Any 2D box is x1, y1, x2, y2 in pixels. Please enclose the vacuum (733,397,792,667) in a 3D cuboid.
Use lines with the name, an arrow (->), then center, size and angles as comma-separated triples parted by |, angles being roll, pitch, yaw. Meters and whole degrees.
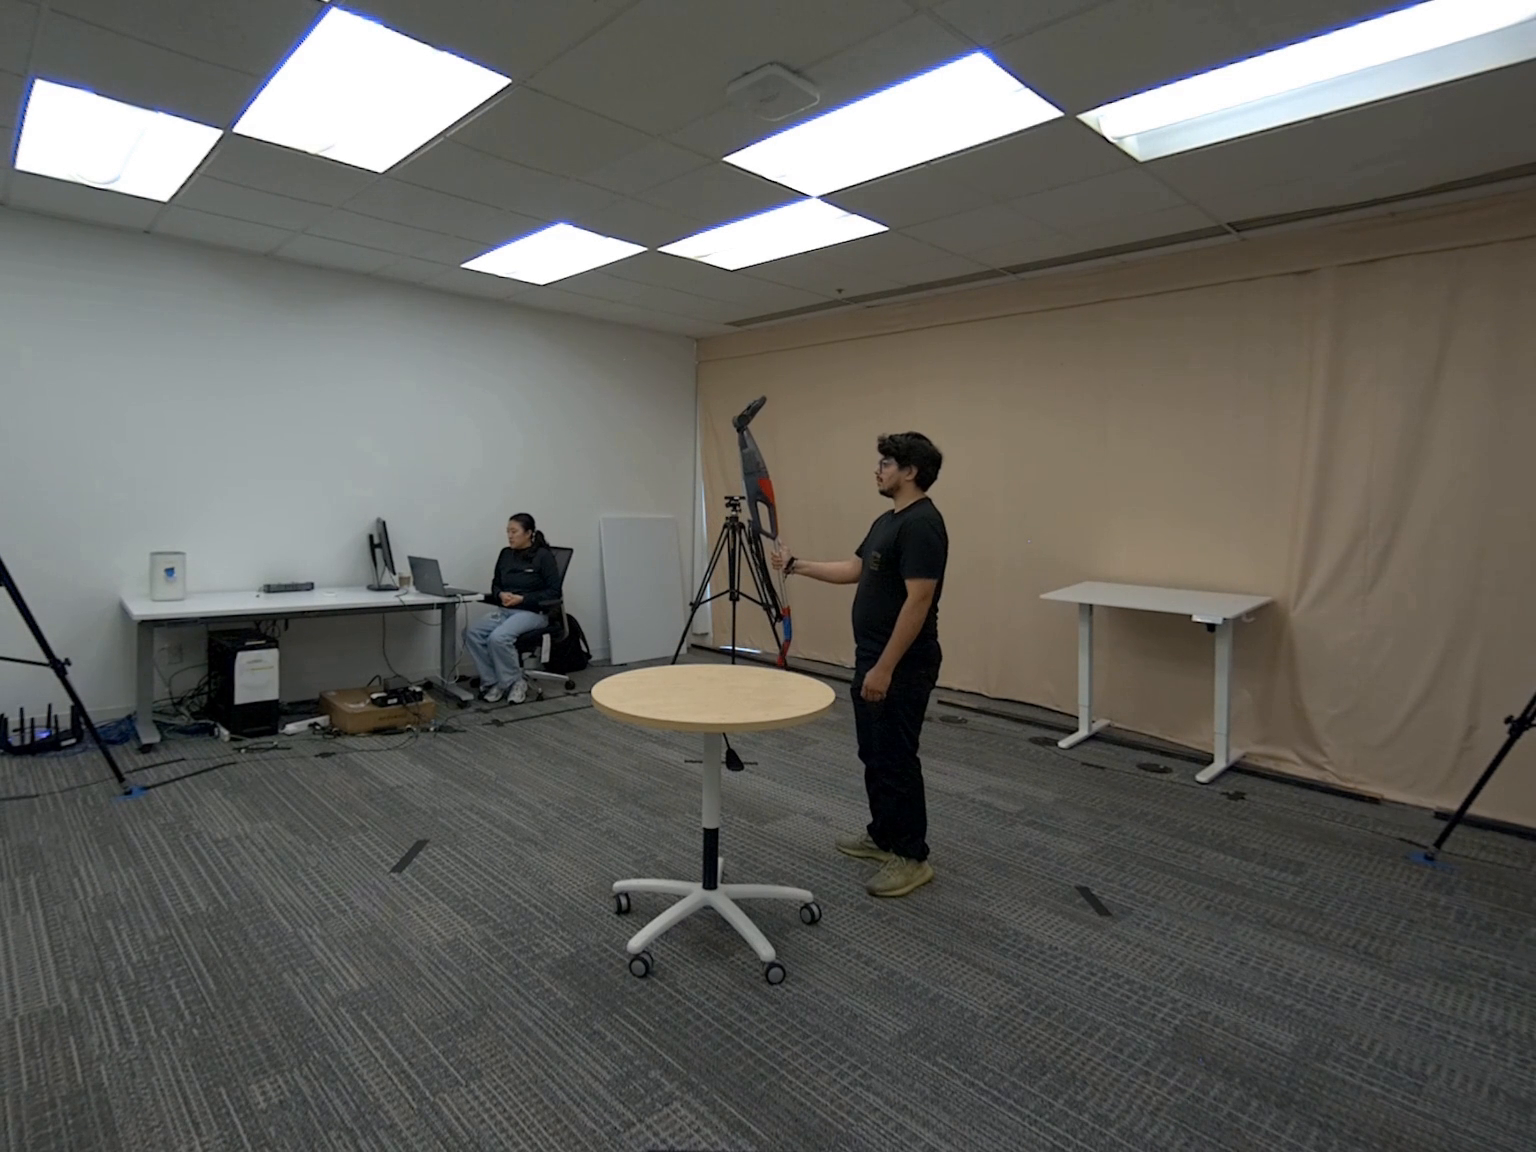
vacuum -> -0.023, -0.159, 3.458 | 0.144, 1.045, 0.254 | -8, 4, -3
